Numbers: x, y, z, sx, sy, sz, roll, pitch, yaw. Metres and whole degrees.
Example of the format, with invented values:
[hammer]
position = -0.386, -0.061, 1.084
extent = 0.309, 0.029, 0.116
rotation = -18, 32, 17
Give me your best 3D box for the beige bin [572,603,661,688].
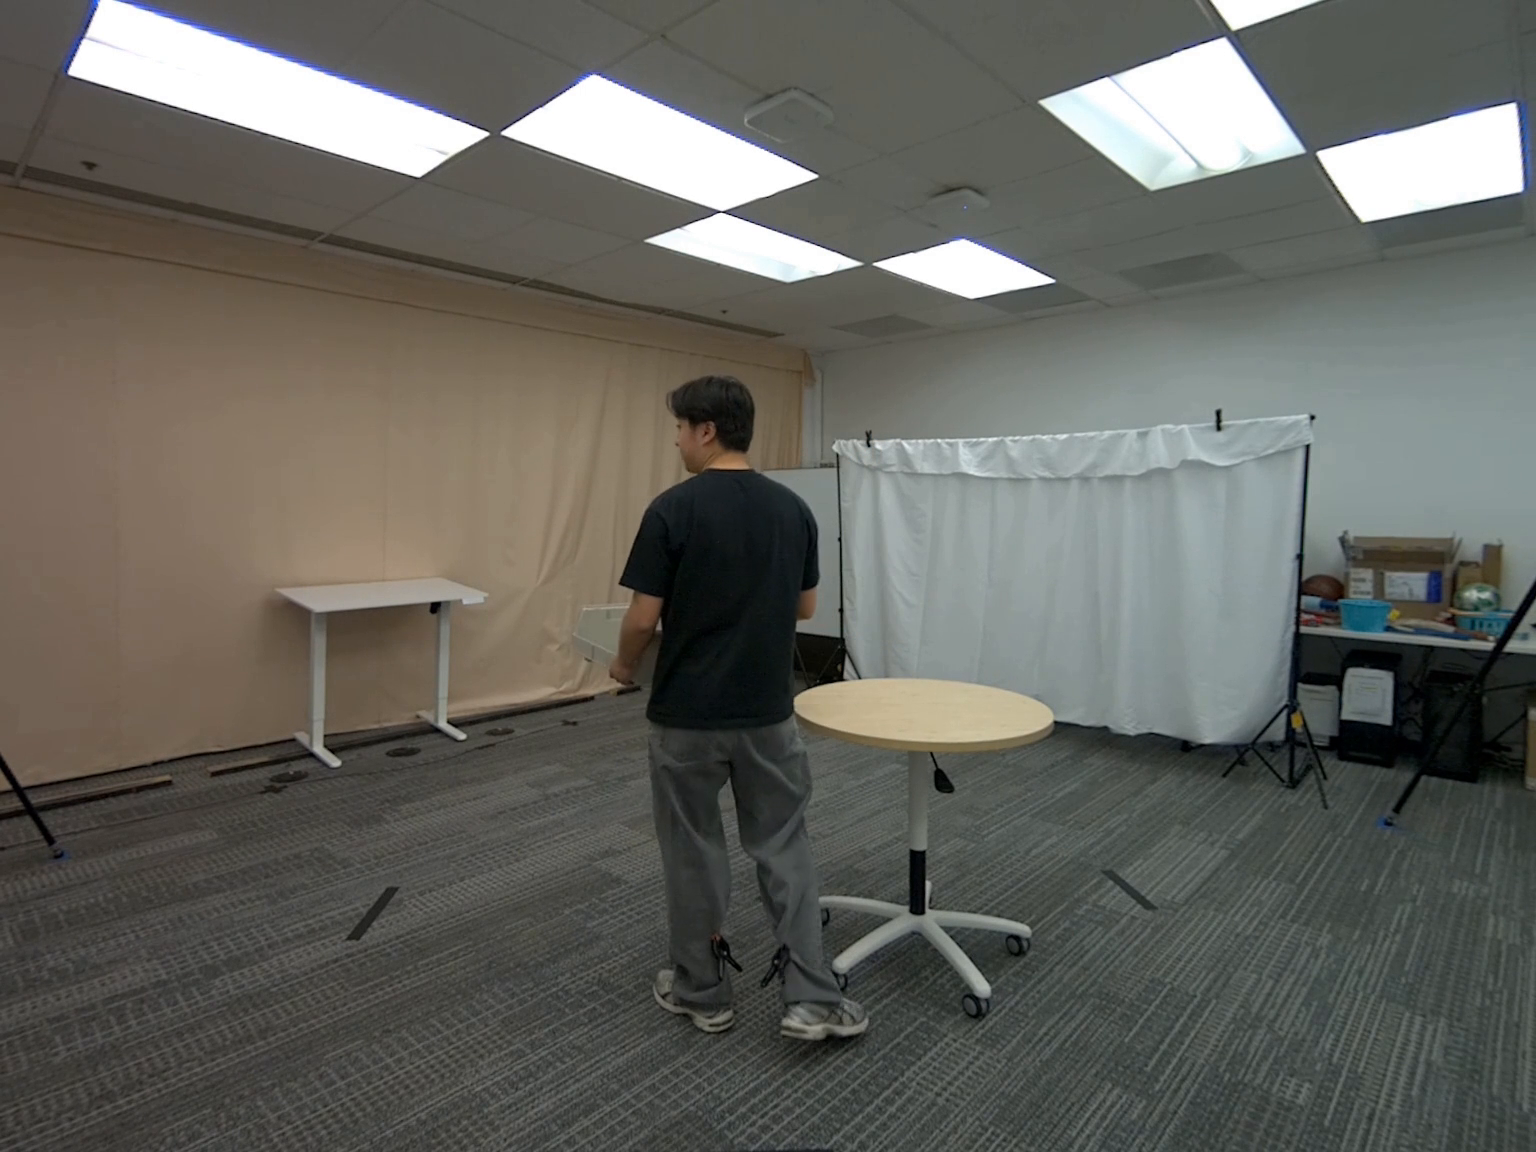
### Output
[beige bin]
position = -0.351, 0.214, 2.646
extent = 0.366, 0.188, 0.436
rotation = 0, 7, -35
